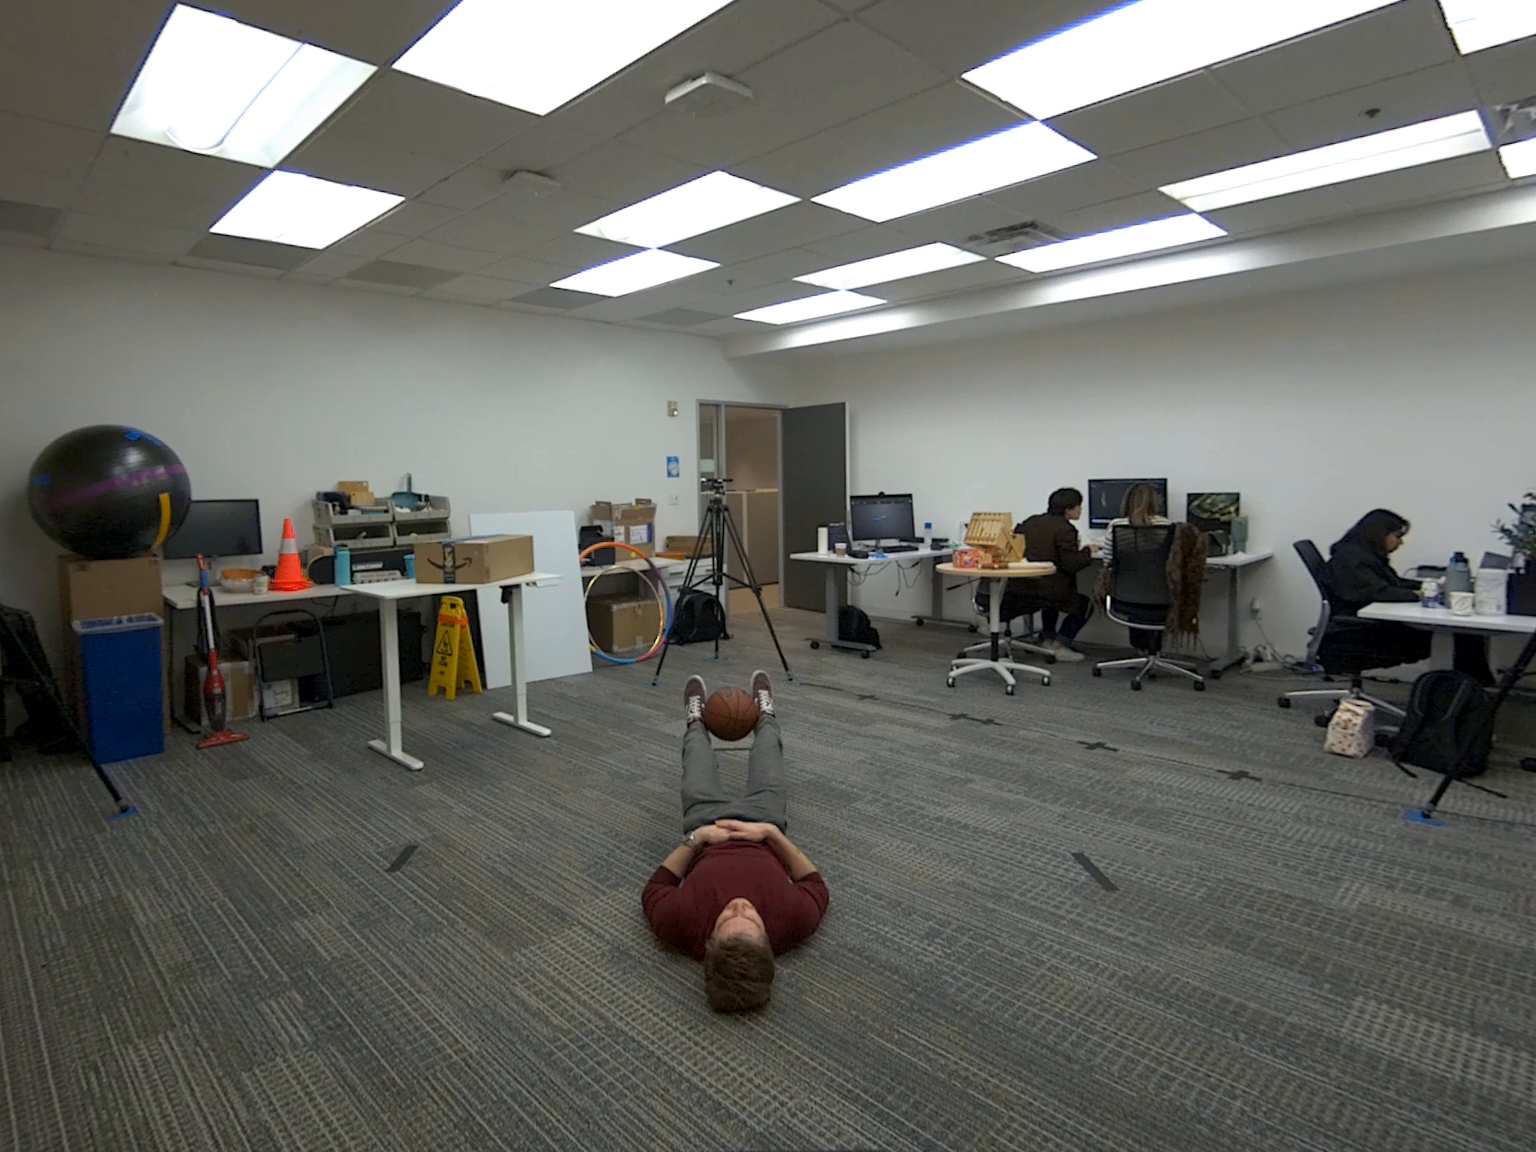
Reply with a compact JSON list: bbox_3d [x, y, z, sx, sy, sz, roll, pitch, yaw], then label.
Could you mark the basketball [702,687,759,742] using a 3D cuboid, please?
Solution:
[{"bbox_3d":[-0.163,0.612,3.802,0.236,0.236,0.236,0,1,-2],"label":"basketball"}]
